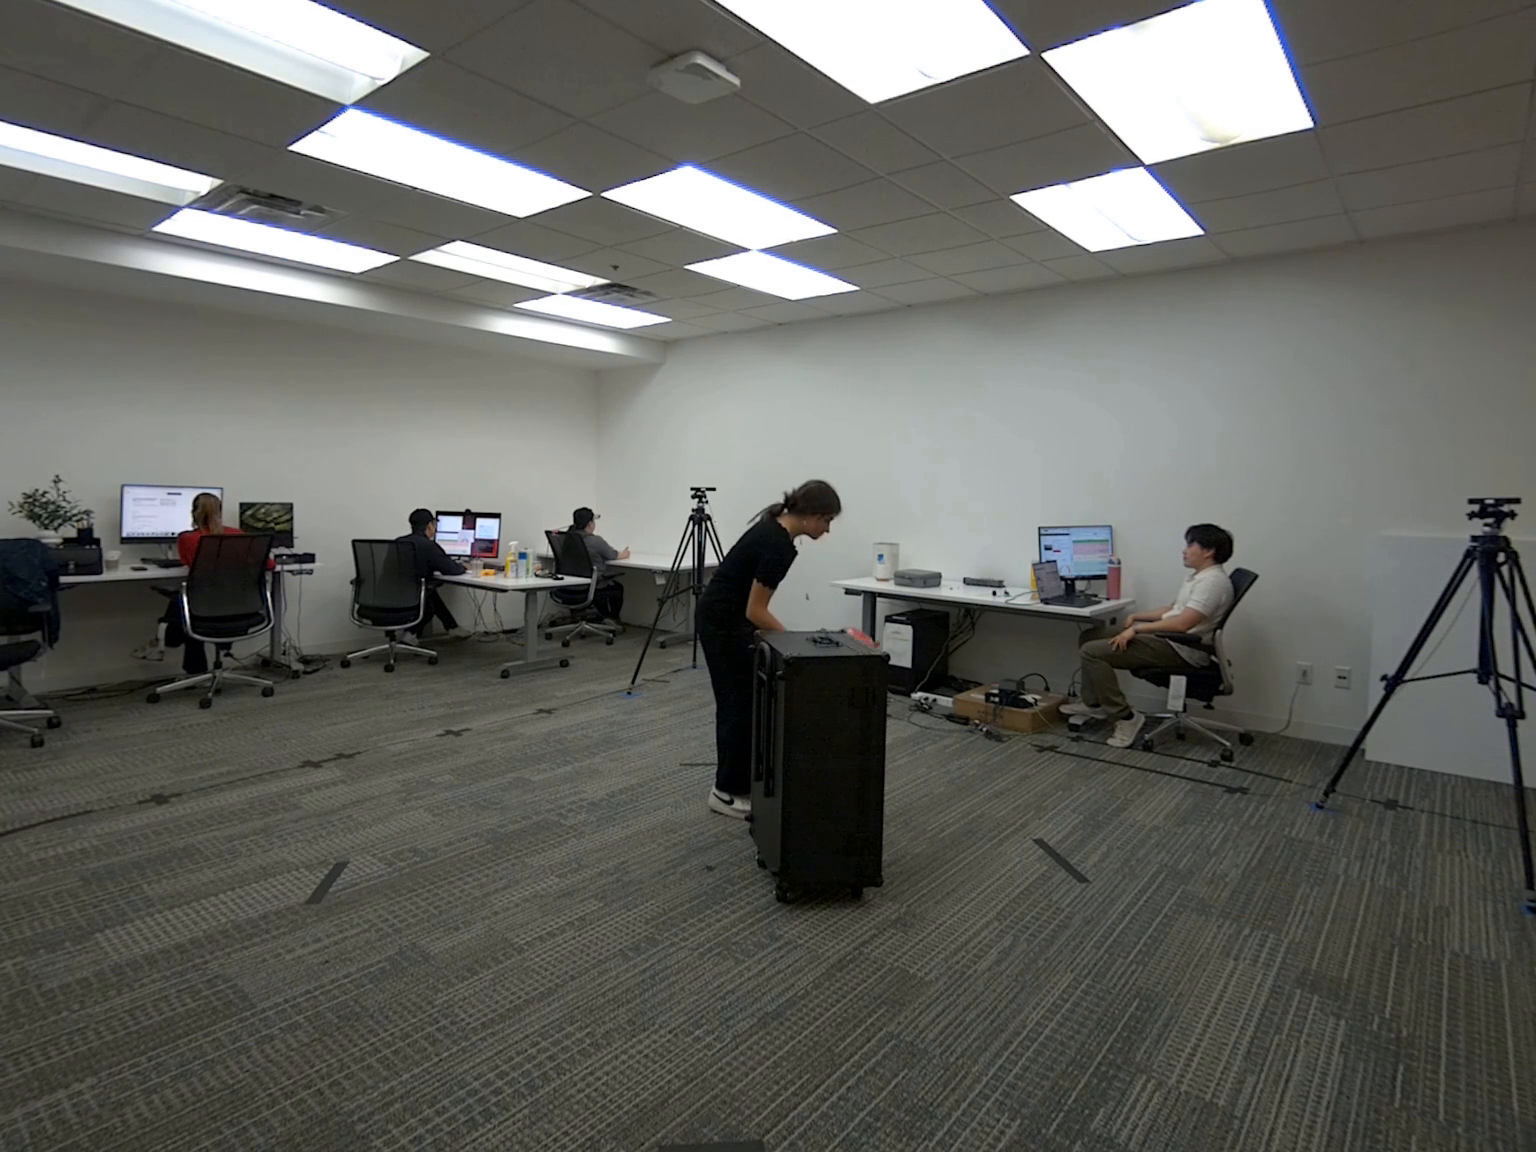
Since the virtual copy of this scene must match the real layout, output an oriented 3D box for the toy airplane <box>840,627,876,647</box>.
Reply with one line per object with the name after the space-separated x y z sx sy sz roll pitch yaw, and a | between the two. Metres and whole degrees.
0.303 0.339 3.505 0.249 0.156 0.262 19 17 -38 | toy airplane
